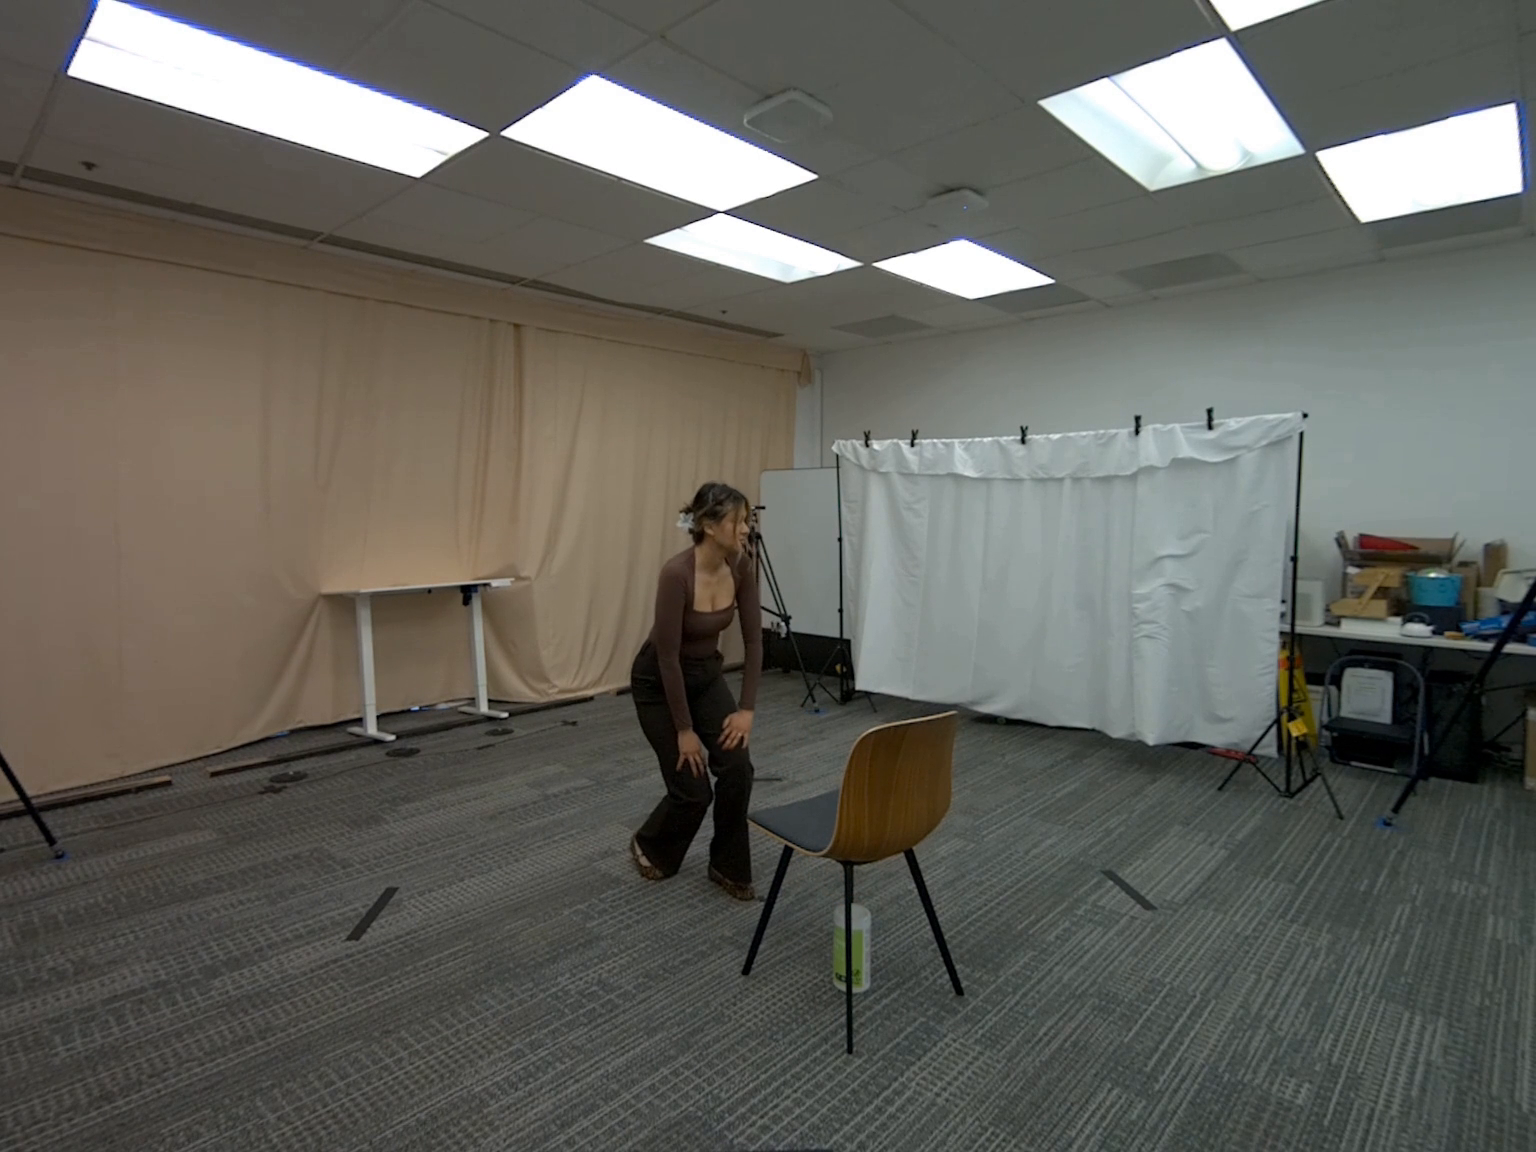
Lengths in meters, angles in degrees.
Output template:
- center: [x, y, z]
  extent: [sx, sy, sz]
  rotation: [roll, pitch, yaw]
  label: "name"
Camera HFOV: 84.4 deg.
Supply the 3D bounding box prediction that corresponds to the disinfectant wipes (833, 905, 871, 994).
- center: [0.246, 1.093, 2.437]
  extent: [0.118, 0.217, 0.118]
  rotation: [0, 2, -2]
  label: "disinfectant wipes"
